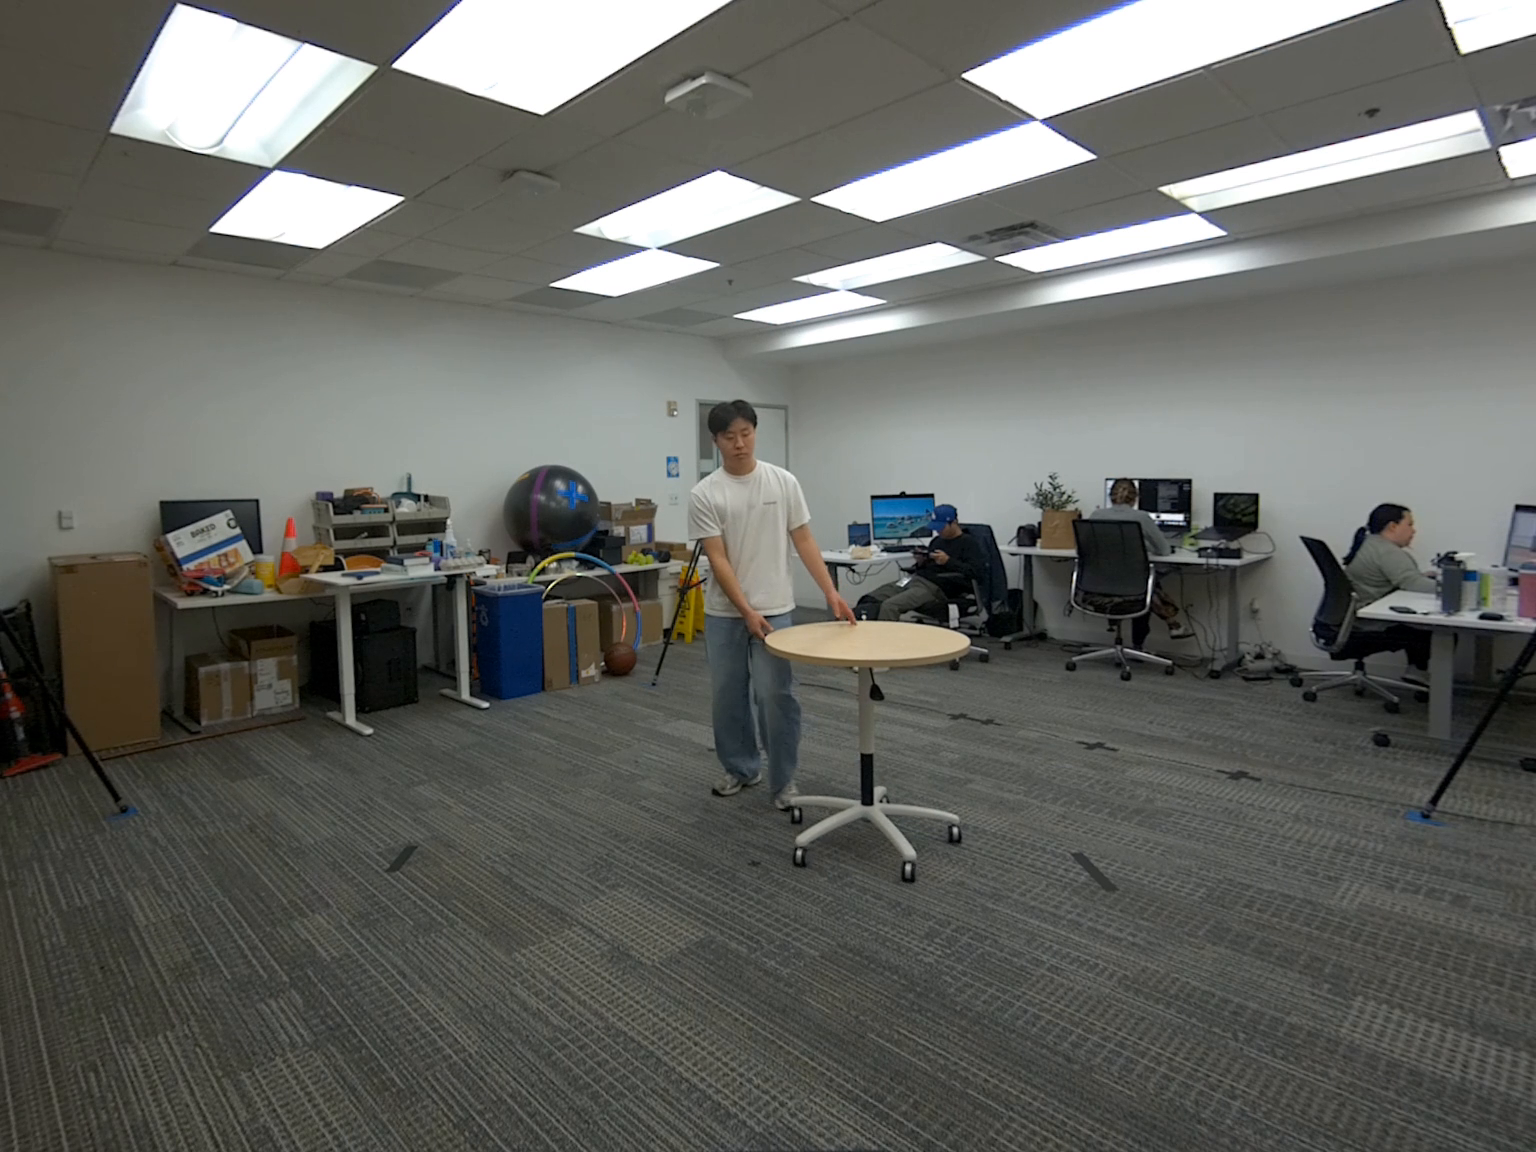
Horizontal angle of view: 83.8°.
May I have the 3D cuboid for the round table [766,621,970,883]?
[{"bbox_3d":[0.375,0.631,3.259,0.763,0.791,0.768,-1,5,-2],"label":"round table"}]
